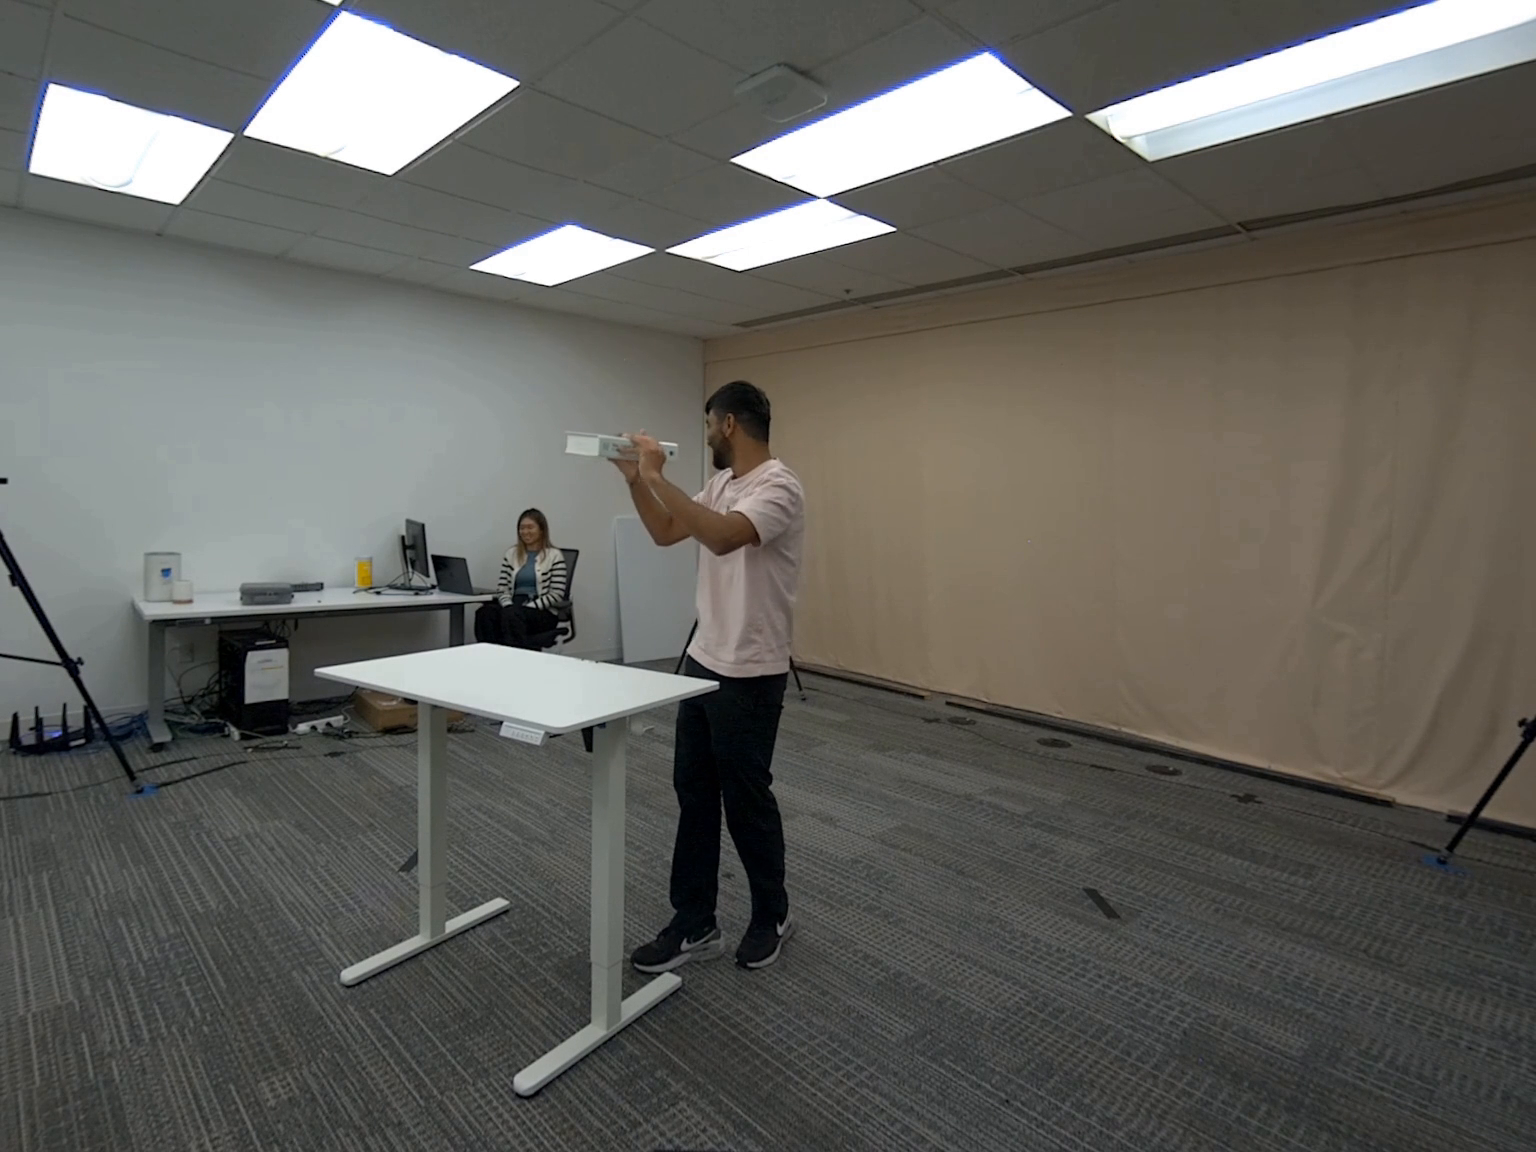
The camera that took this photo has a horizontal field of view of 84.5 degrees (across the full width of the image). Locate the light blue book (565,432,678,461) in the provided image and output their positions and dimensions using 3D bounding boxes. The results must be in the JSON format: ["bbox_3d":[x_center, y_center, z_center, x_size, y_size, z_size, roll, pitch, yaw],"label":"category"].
[{"bbox_3d":[-0.412,-0.357,2.374,0.255,0.059,0.197,0,10,-38],"label":"light blue book"}]
